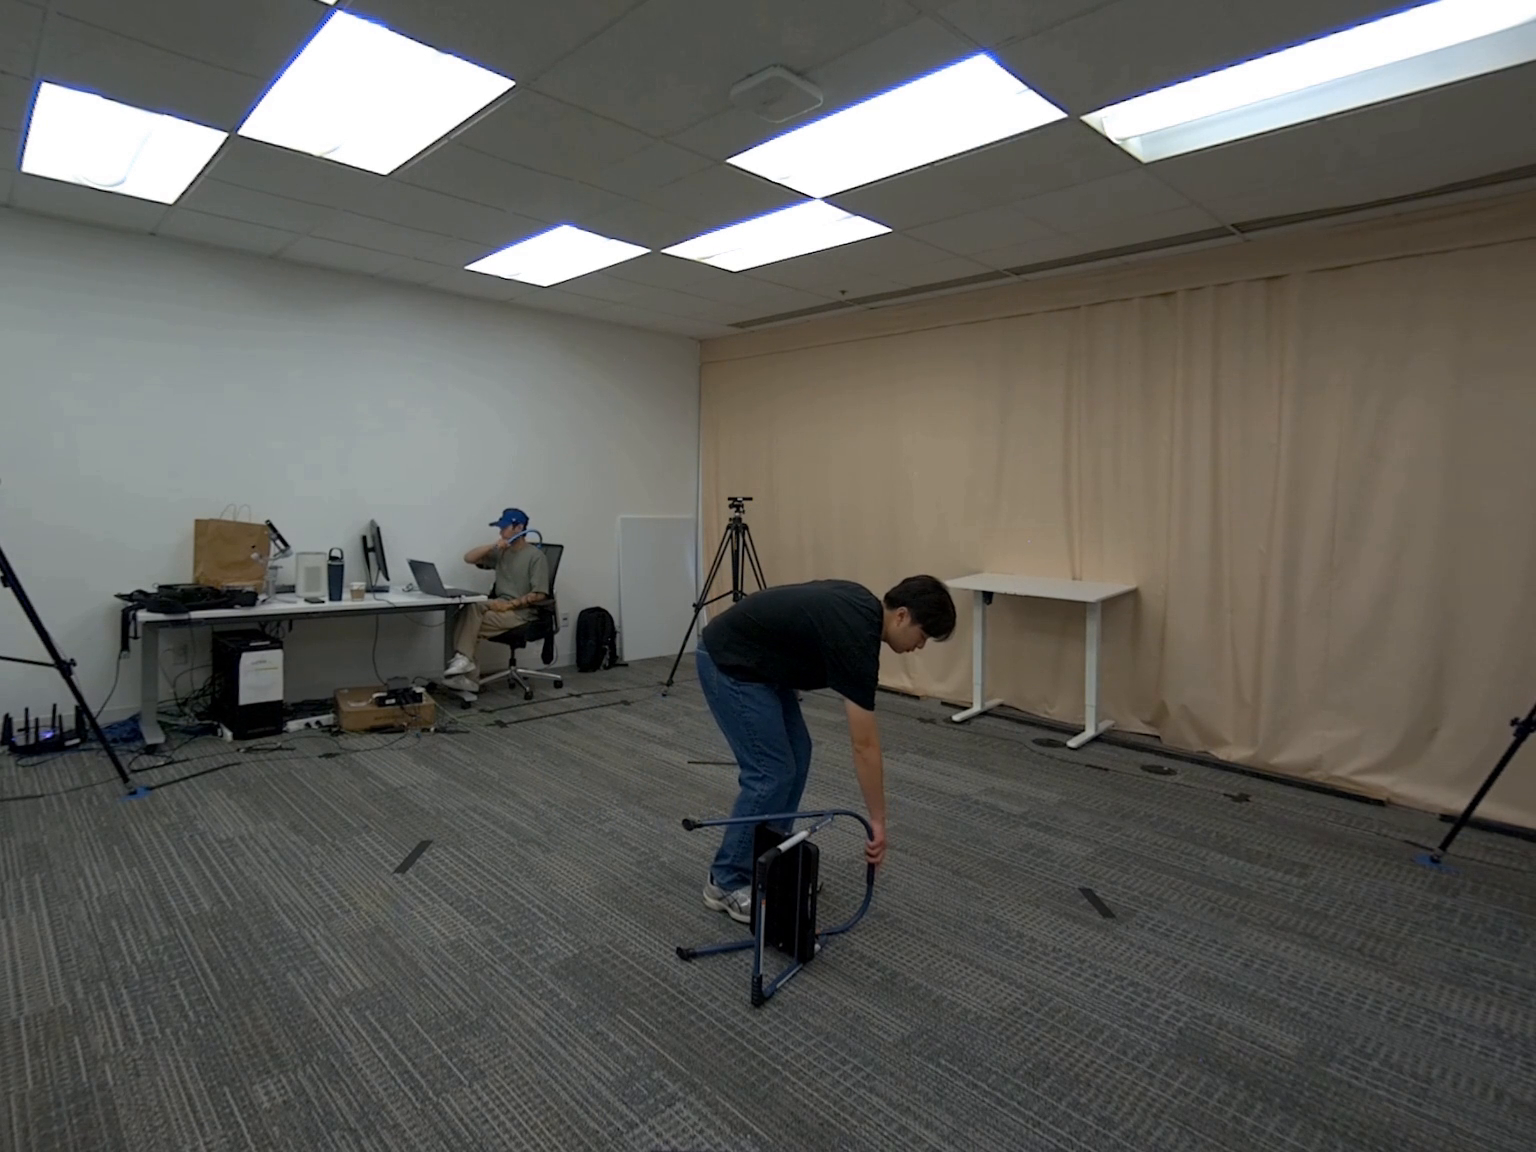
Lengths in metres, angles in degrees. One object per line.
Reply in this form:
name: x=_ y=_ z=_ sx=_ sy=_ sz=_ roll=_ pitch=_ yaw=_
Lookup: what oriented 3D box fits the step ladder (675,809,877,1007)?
step ladder: x=0.063 y=0.948 z=2.600 sx=0.592 sy=0.429 sz=0.358 roll=-2 pitch=7 yaw=-43
